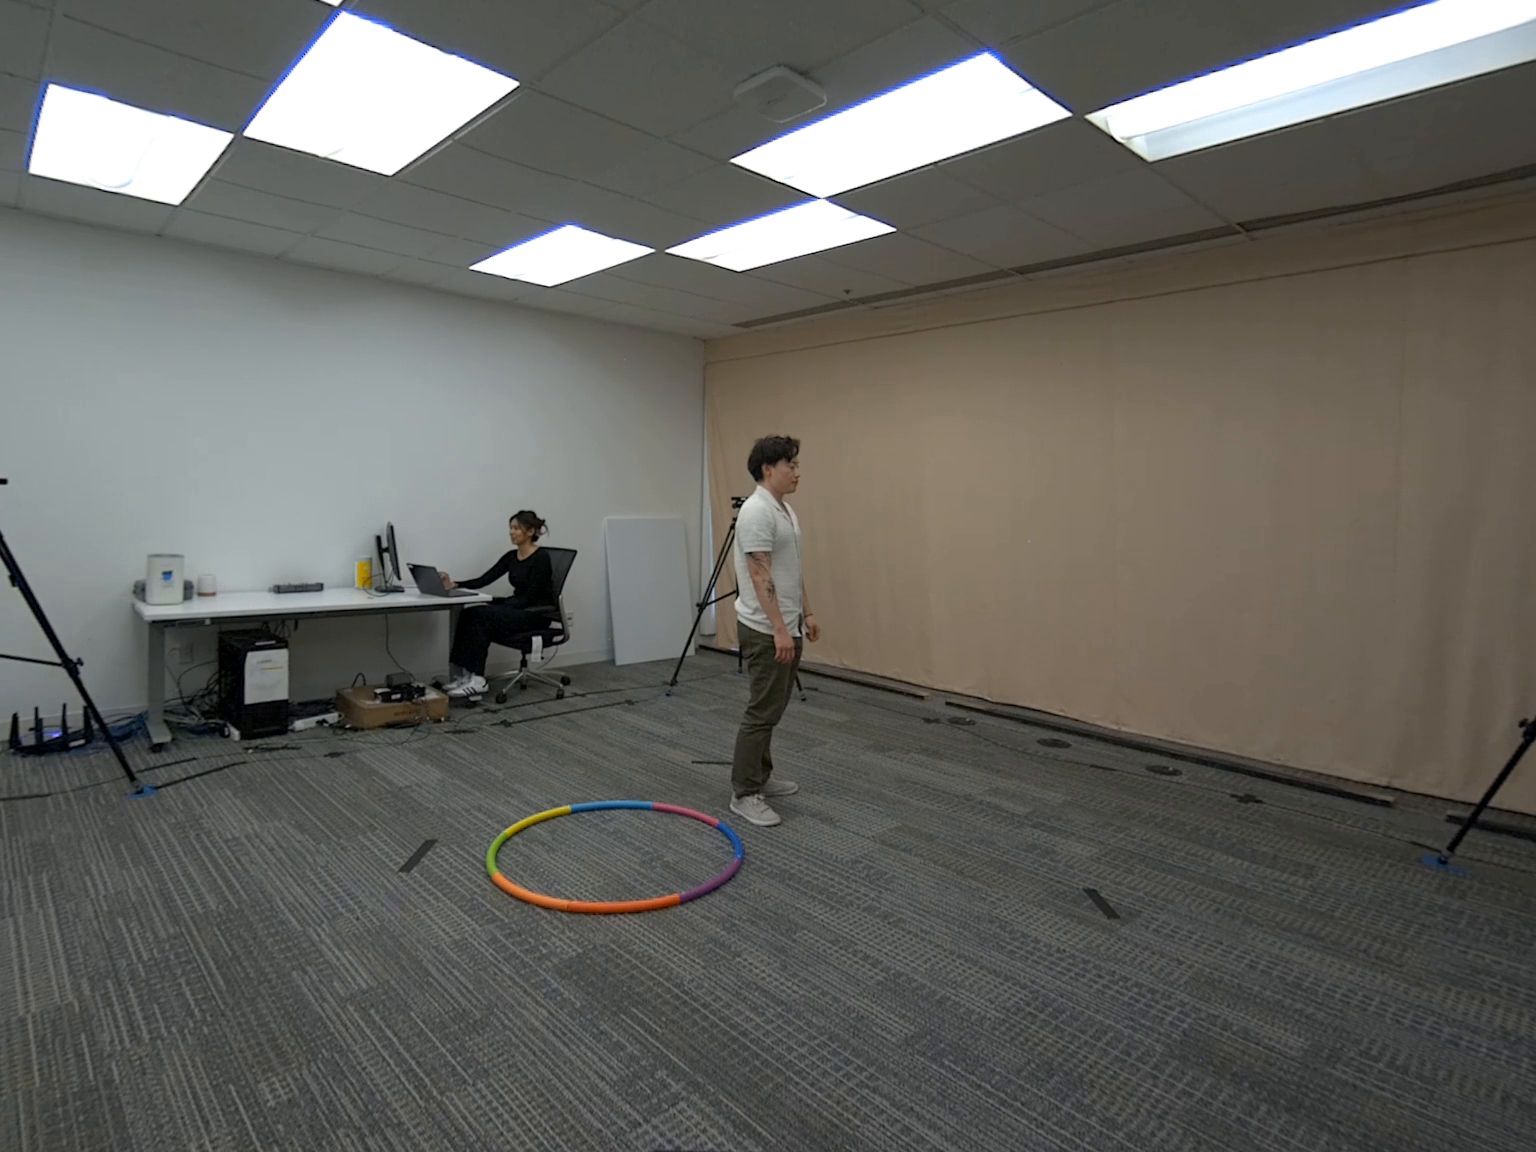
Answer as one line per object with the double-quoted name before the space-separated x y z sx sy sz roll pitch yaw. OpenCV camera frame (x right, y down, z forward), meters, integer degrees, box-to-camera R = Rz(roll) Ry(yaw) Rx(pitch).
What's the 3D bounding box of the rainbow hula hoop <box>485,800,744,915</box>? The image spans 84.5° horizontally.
"rainbow hula hoop" -0.591 1.052 3.275 0.978 0.035 0.982 2 5 -1
